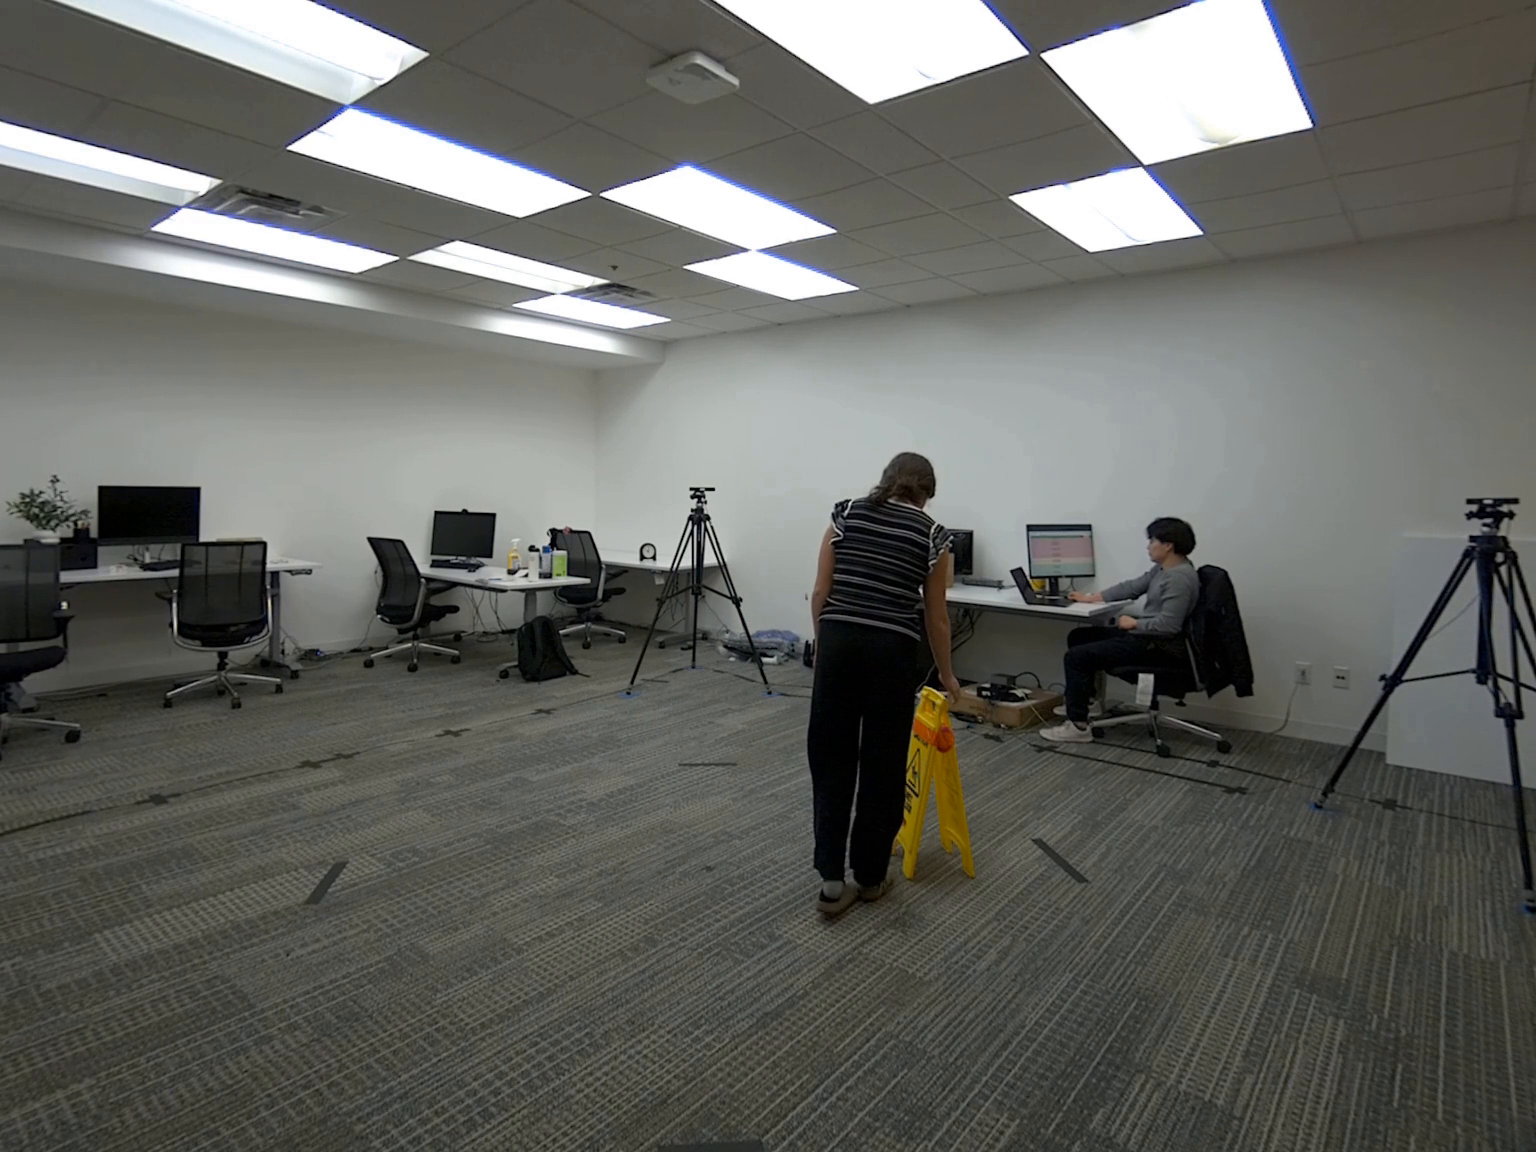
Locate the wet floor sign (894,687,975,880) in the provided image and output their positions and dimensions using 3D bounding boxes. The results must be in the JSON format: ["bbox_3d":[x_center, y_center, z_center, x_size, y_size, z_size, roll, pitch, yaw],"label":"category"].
[{"bbox_3d":[0.609,0.750,3.190,0.287,0.643,0.286,1,4,-10],"label":"wet floor sign"}]
